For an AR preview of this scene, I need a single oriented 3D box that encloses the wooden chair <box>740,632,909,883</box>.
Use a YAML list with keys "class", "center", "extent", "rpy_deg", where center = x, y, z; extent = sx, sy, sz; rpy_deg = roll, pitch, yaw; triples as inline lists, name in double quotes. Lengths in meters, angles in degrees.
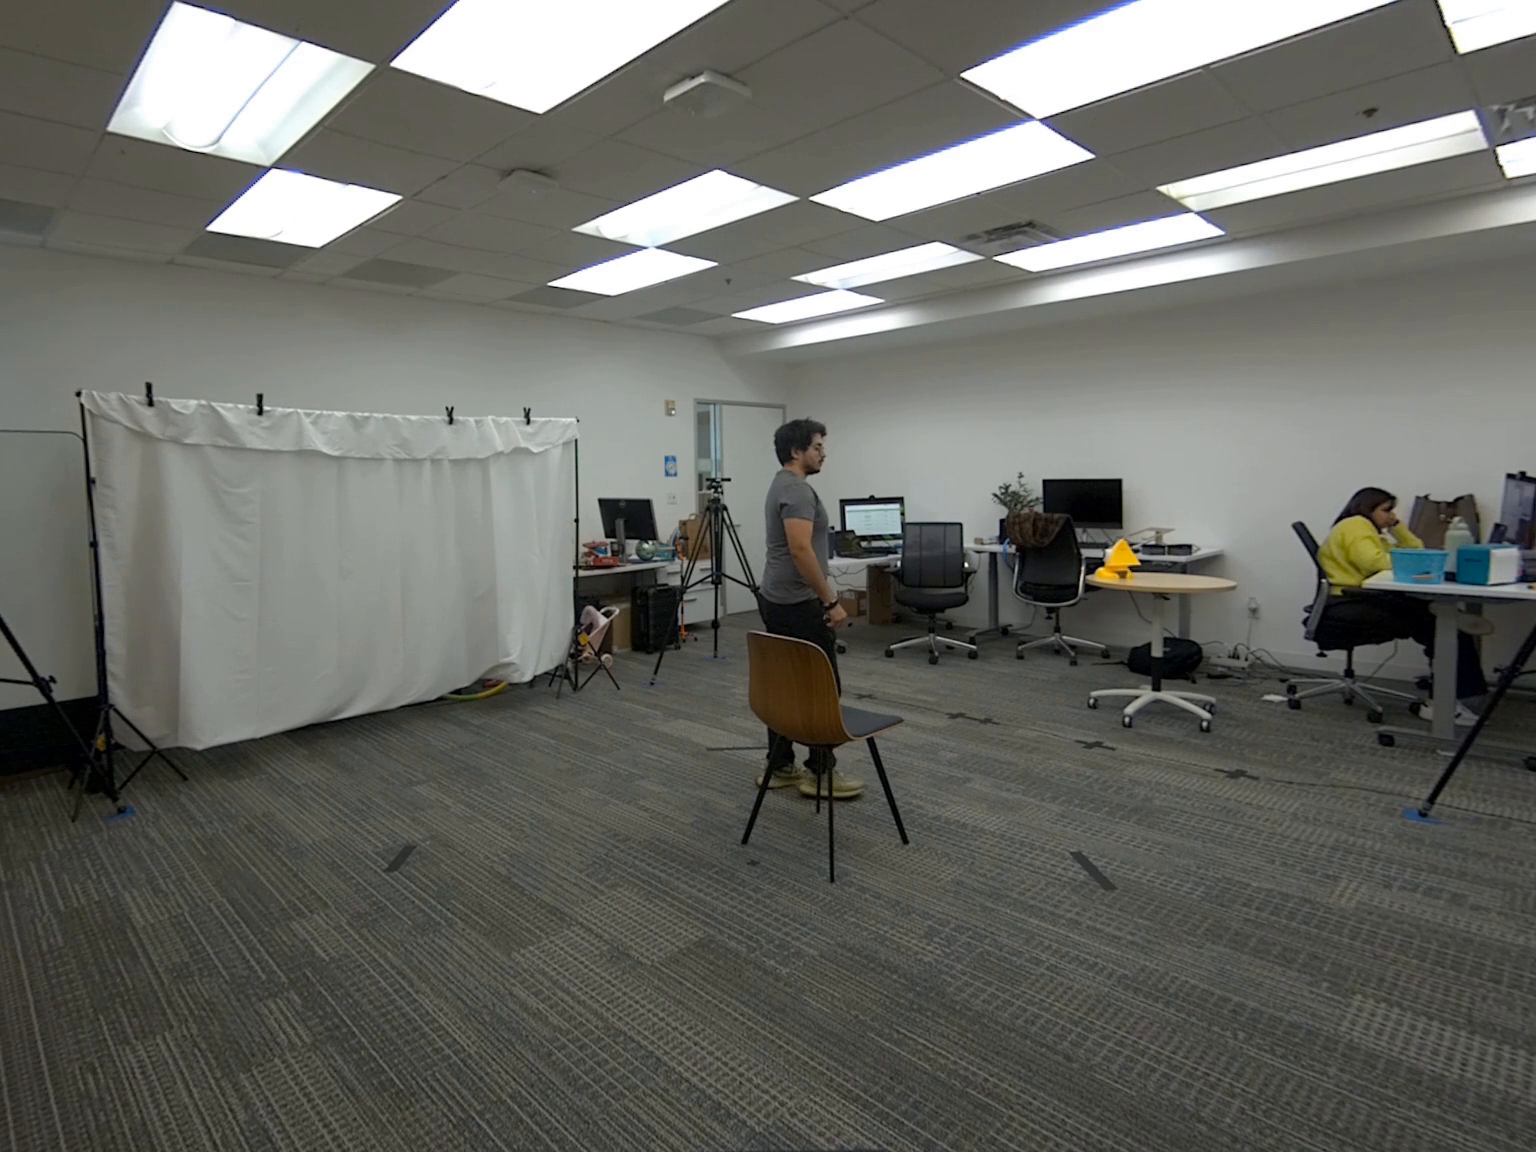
- class: "wooden chair"
  center: [0.215, 0.597, 3.231]
  extent: [0.511, 0.872, 0.493]
  rpy_deg: [-10, 9, -44]
